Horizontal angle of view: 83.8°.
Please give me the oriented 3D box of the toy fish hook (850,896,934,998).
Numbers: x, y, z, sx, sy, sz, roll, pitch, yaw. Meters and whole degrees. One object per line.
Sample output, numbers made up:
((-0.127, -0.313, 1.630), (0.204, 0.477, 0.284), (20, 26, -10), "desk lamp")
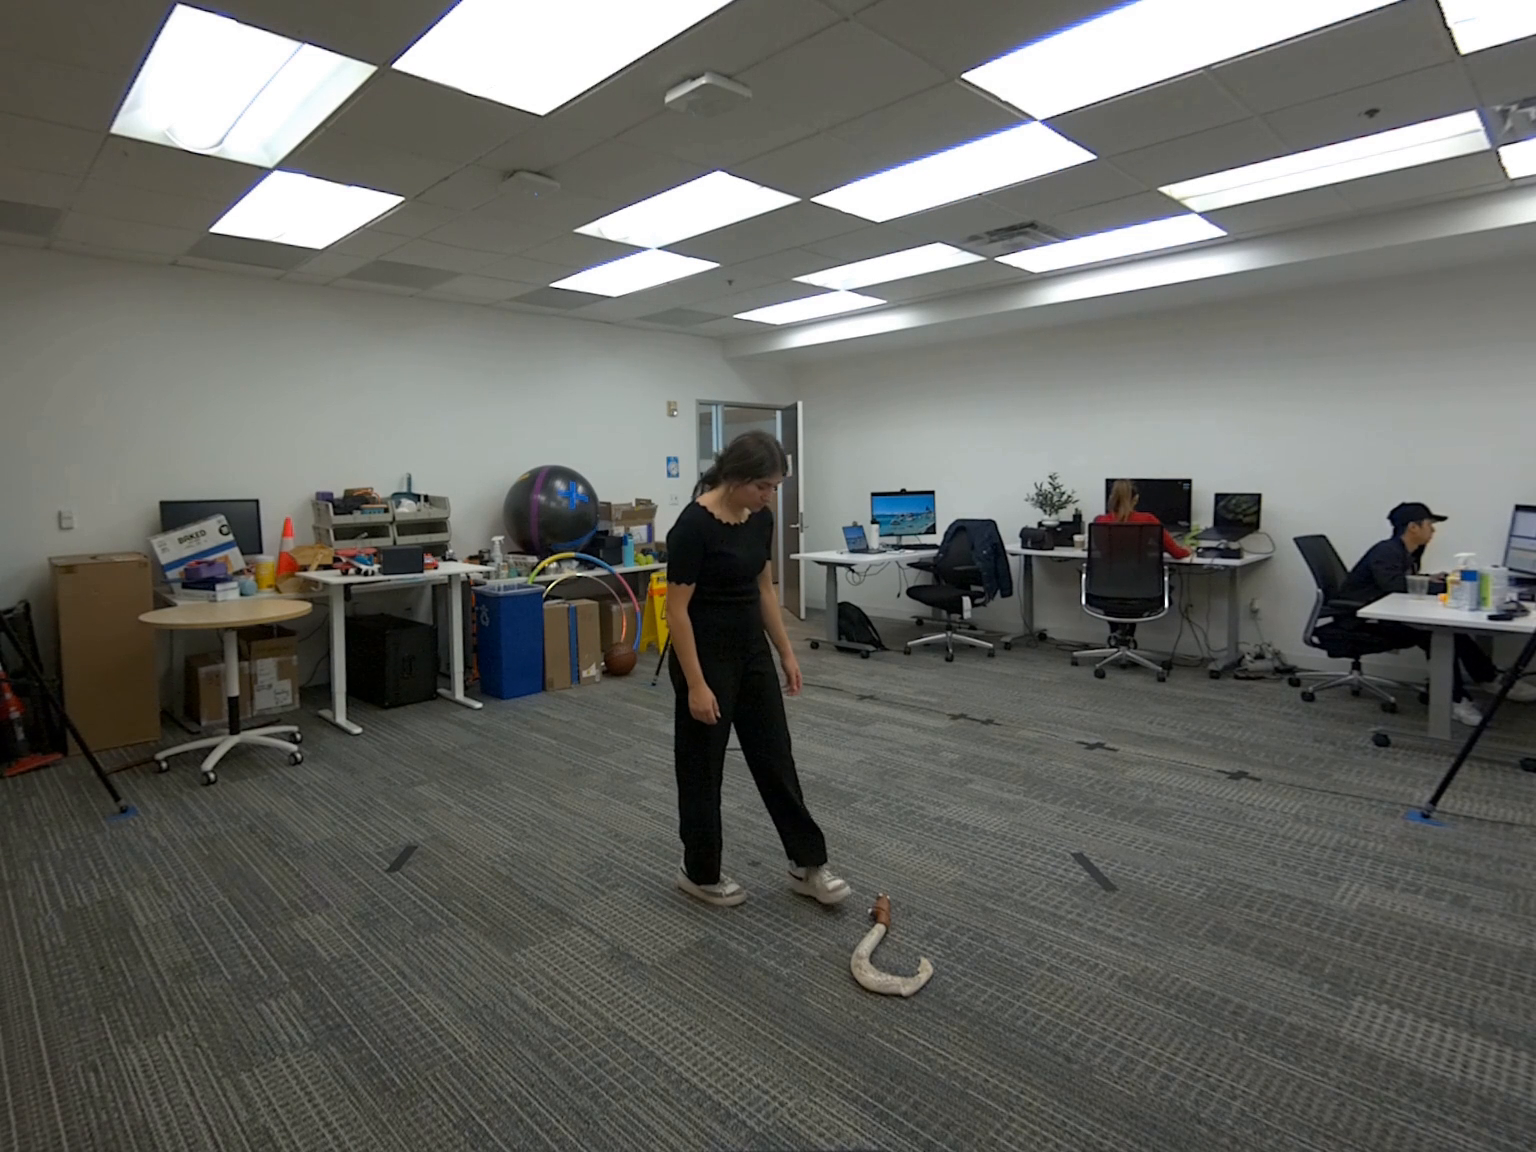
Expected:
((0.377, 1.085, 2.539), (0.228, 0.048, 0.502), (8, 9, 12), "toy fish hook")
